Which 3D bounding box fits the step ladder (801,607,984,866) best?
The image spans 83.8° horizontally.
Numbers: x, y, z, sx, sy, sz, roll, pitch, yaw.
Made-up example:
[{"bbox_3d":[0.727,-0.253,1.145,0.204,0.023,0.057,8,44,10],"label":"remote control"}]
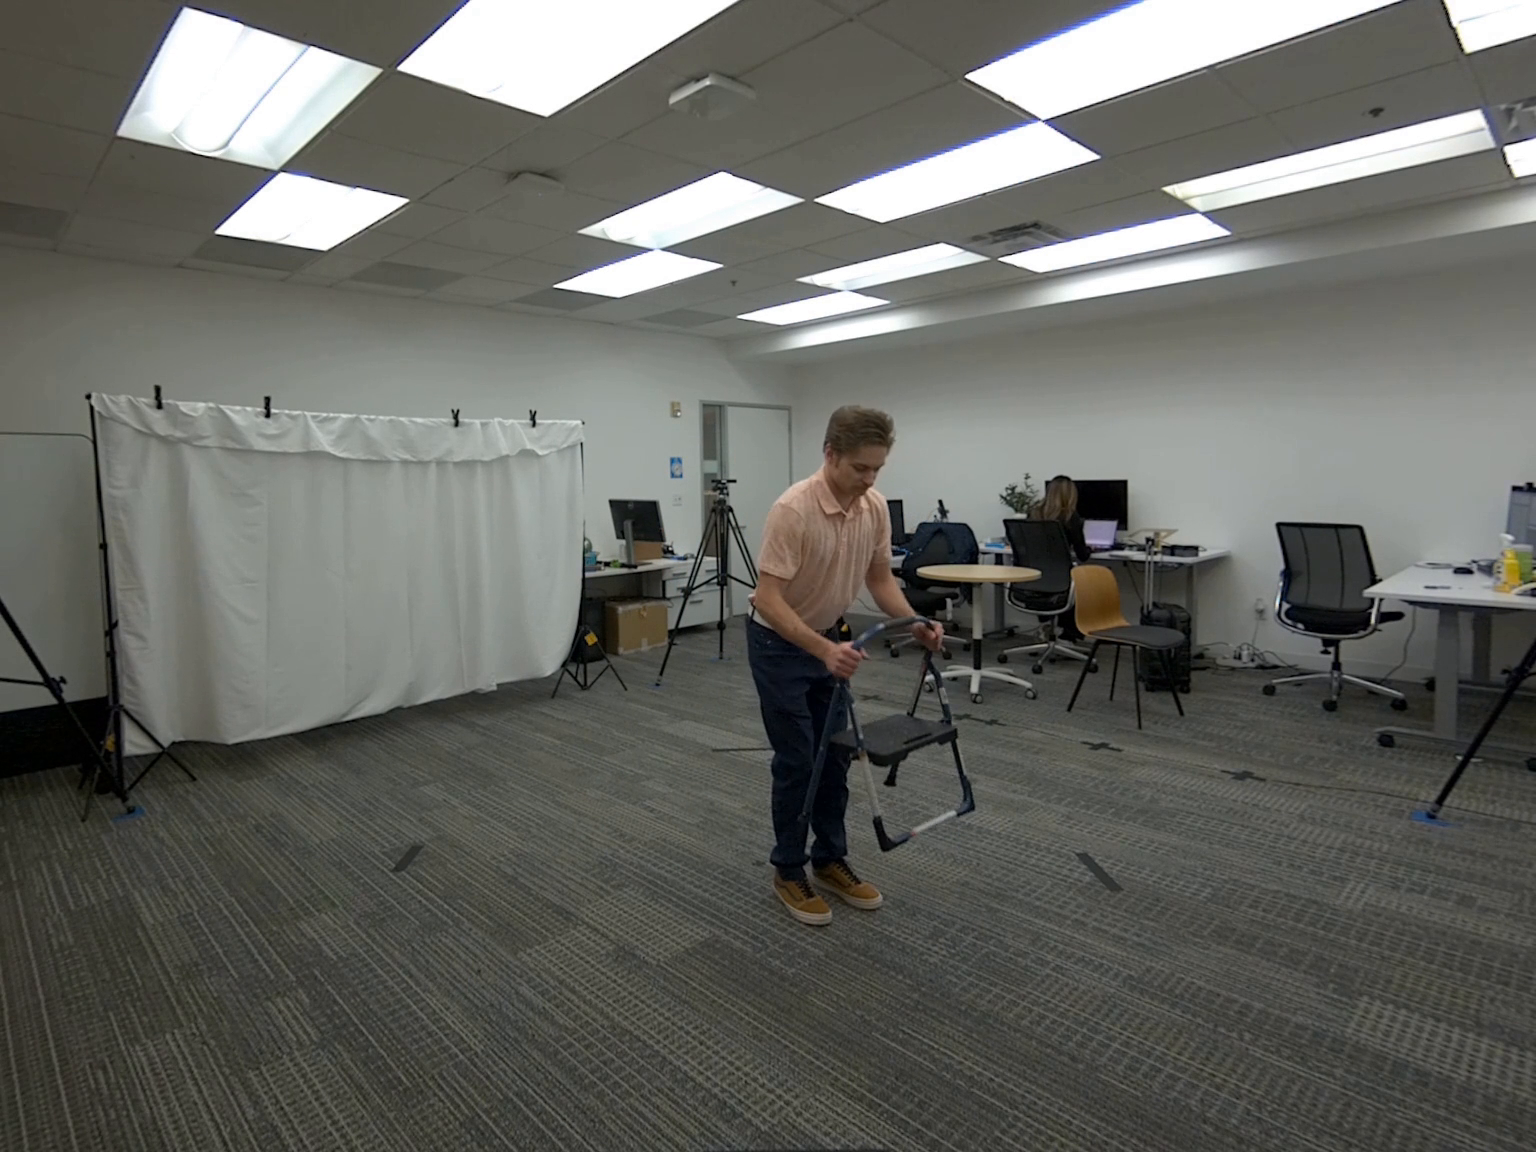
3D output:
[{"bbox_3d":[0.341,0.442,2.561,0.420,0.603,0.359,-10,7,-40],"label":"step ladder"}]
